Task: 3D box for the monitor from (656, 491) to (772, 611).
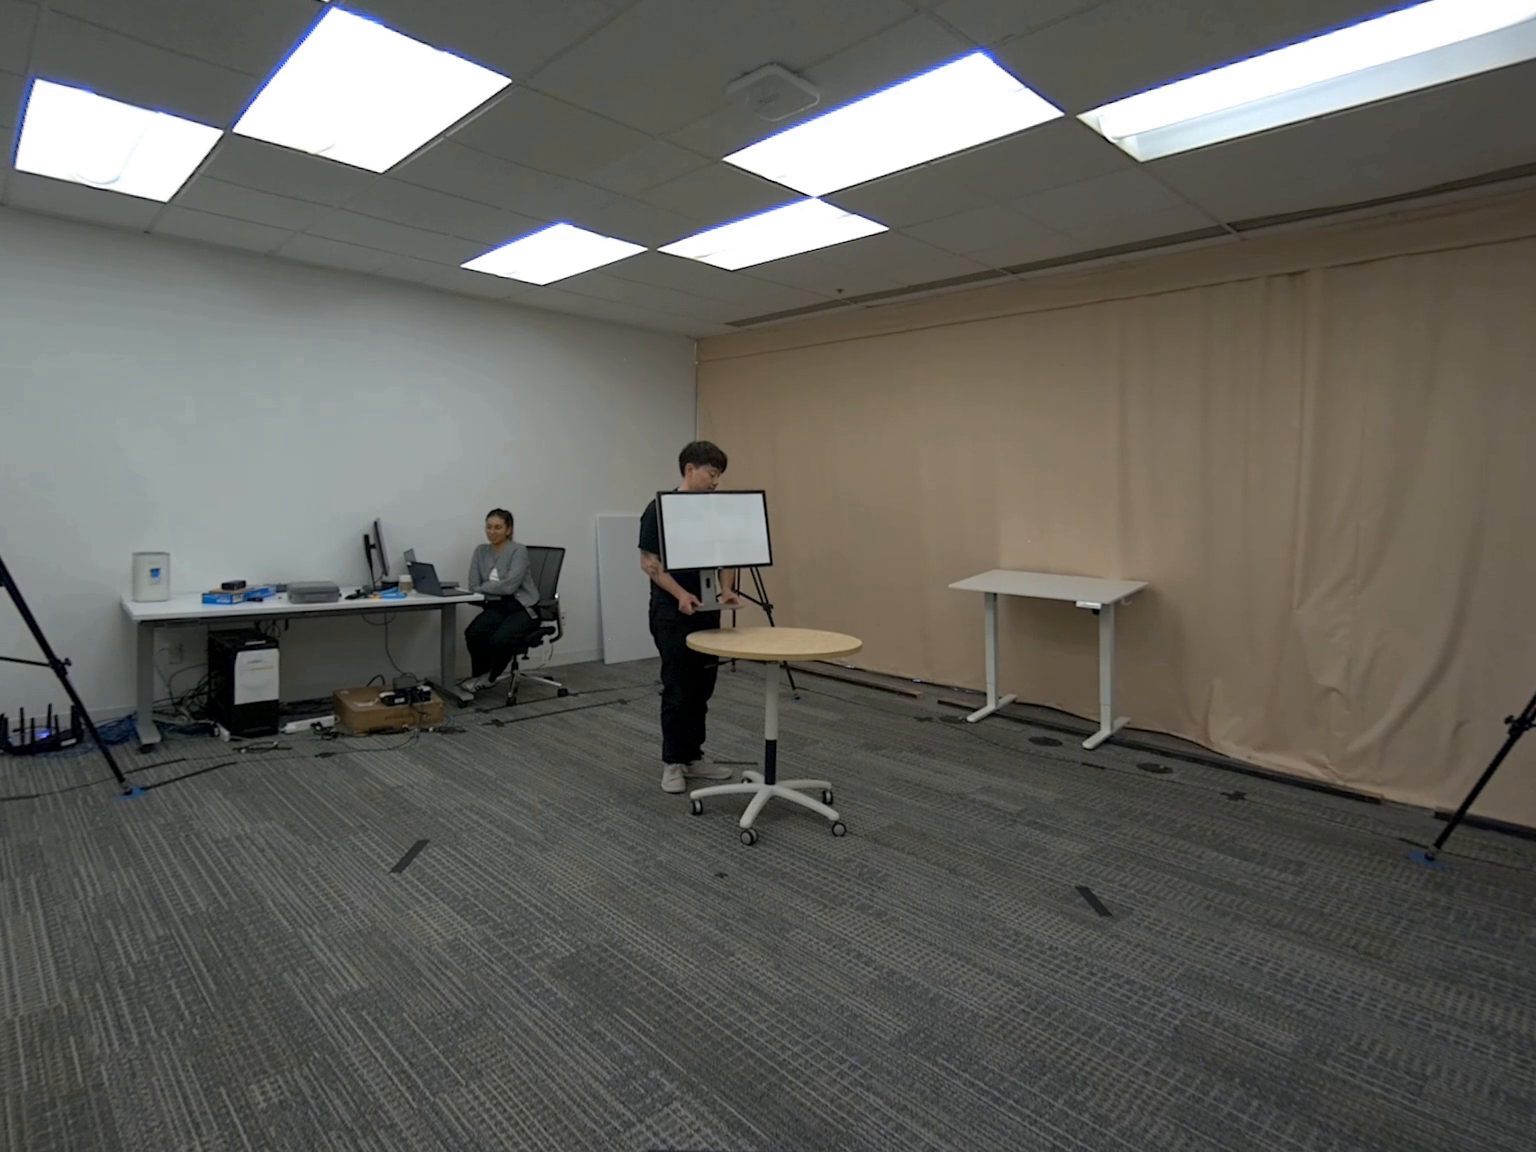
[{"bbox_3d":[-0.262,-0.124,3.864,0.528,0.520,0.191,-3,6,-31],"label":"monitor"}]
